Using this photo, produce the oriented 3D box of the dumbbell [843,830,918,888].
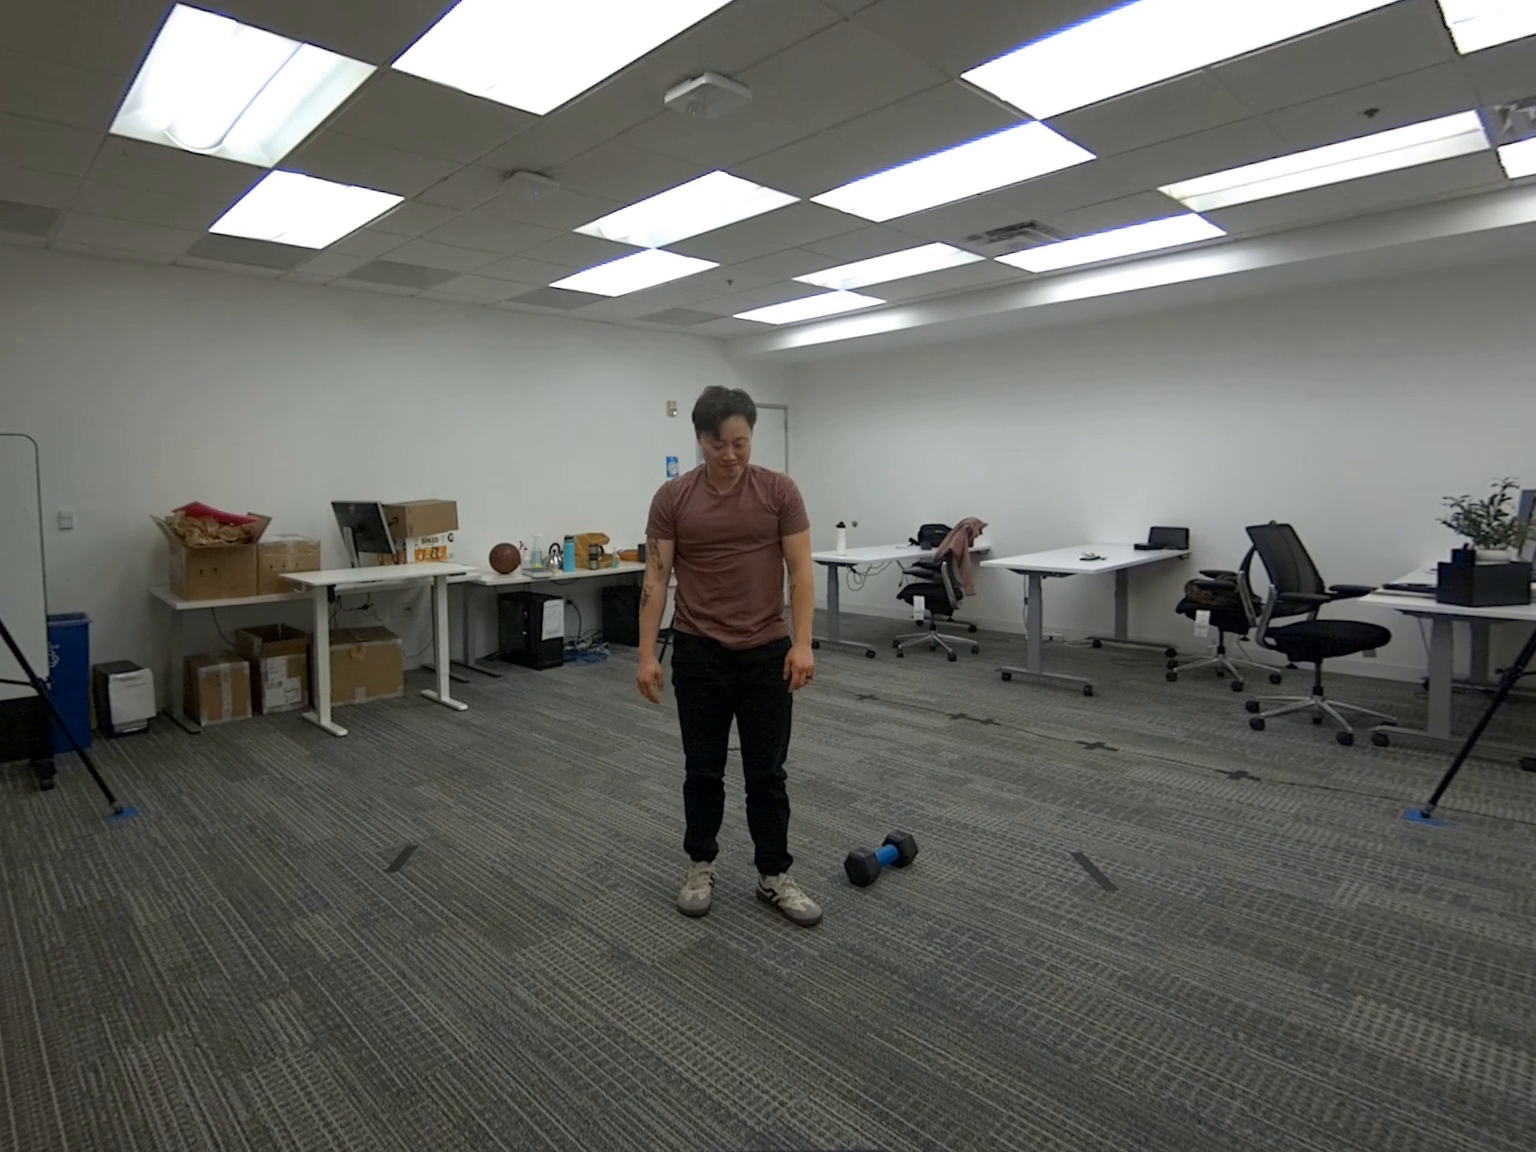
[{"bbox_3d":[0.407,0.993,3.013,0.286,0.121,0.113,-7,38,-43],"label":"dumbbell"}]
